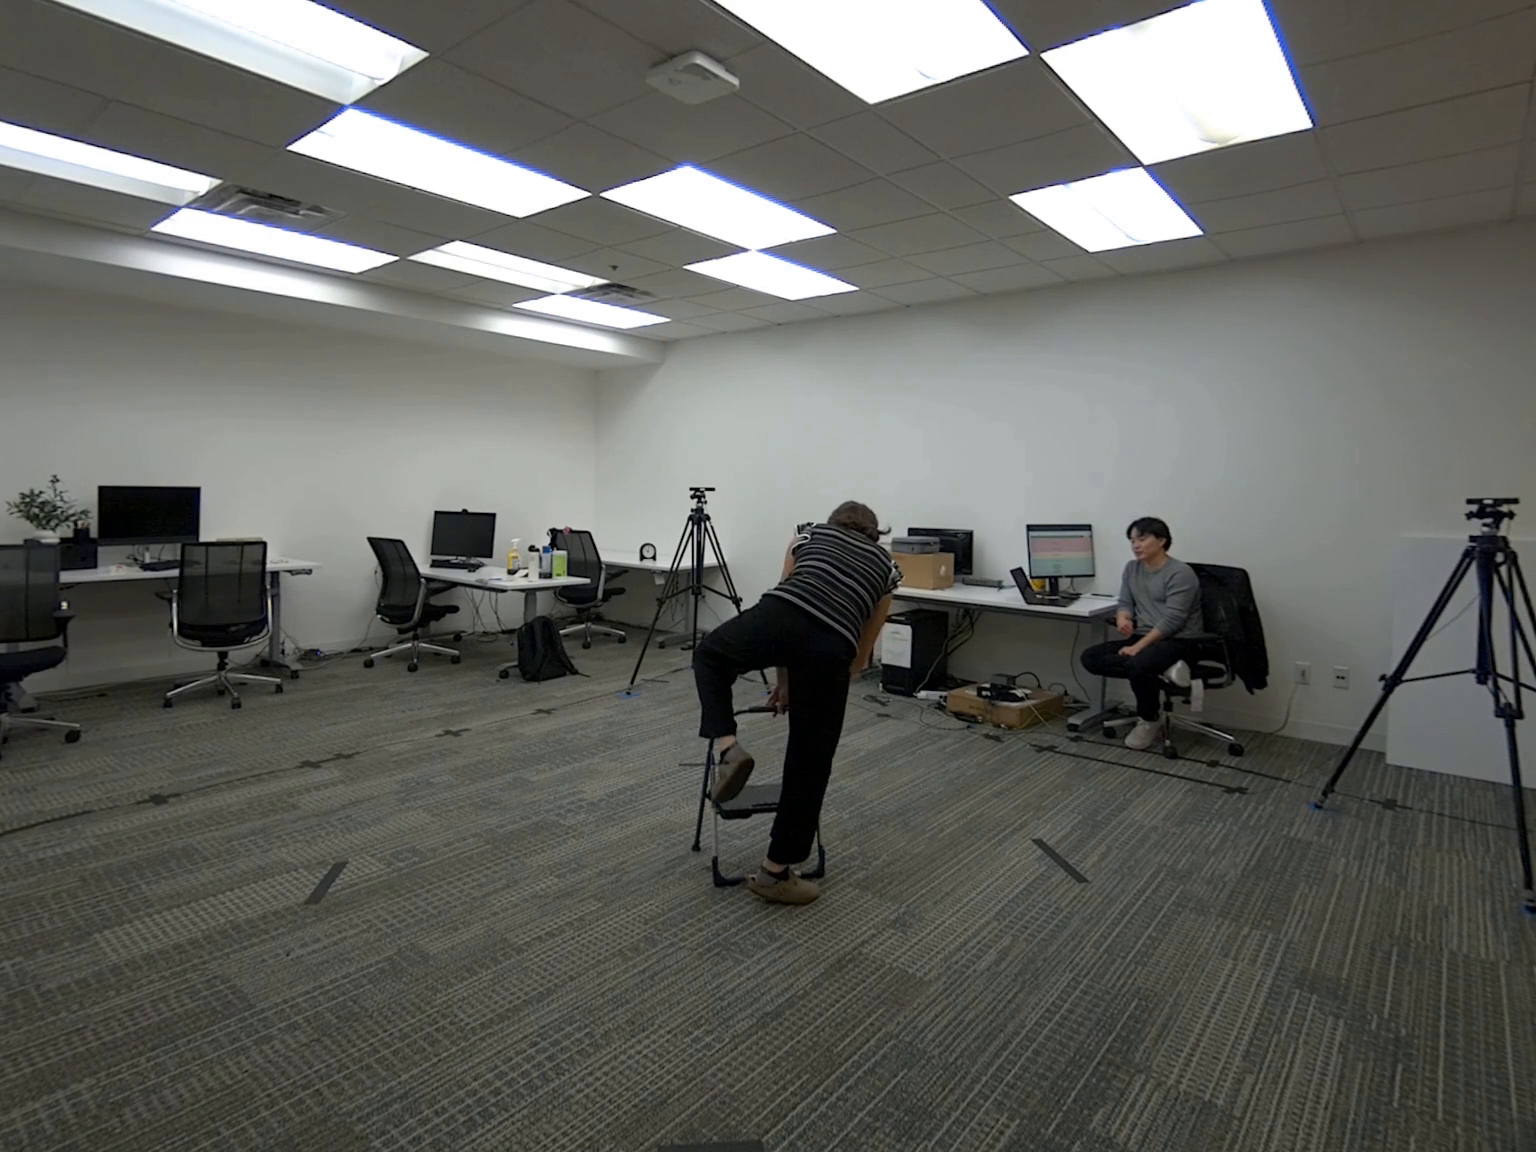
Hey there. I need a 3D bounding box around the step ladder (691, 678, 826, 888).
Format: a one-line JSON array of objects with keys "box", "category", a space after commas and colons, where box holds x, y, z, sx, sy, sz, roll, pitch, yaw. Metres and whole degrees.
[{"box": [-0.044, 0.764, 3.159, 0.424, 0.604, 0.356, 0, 4, -16], "category": "step ladder"}]
